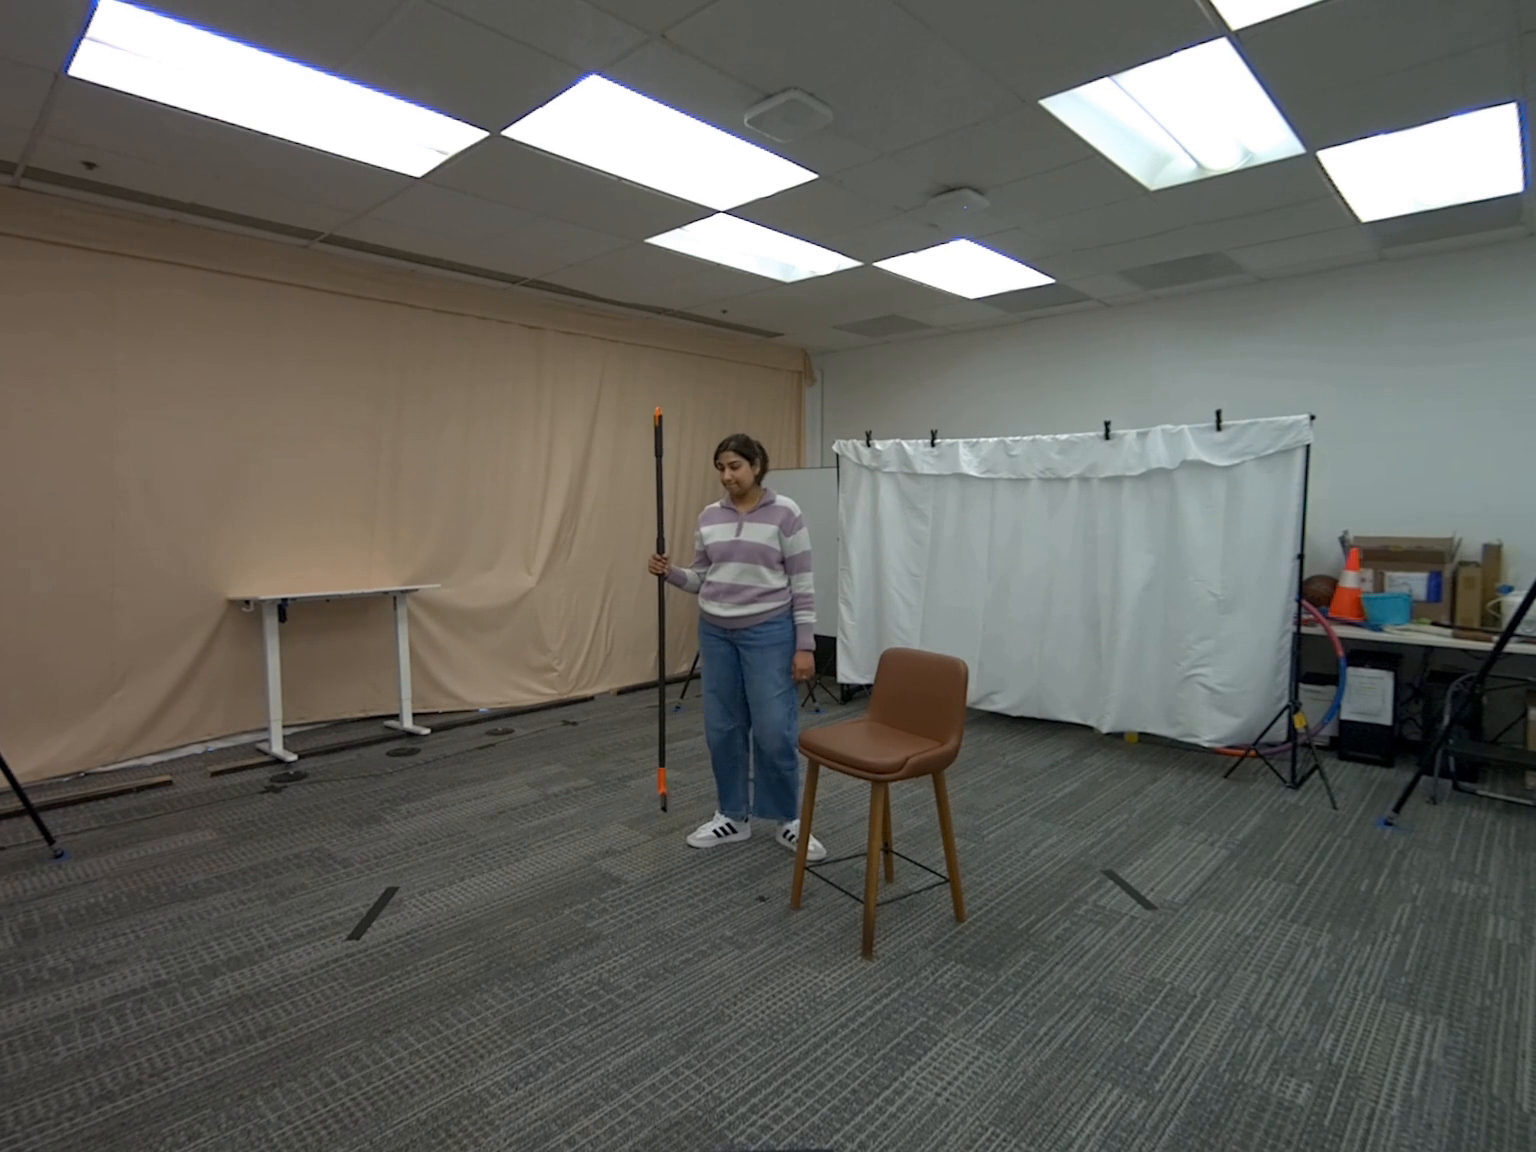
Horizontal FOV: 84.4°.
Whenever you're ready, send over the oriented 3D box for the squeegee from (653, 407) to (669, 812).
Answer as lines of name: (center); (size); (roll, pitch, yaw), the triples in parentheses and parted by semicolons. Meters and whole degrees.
squeegee: (-0.415, 0.122, 3.323); (0.052, 1.535, 0.443); (0, 2, -12)
